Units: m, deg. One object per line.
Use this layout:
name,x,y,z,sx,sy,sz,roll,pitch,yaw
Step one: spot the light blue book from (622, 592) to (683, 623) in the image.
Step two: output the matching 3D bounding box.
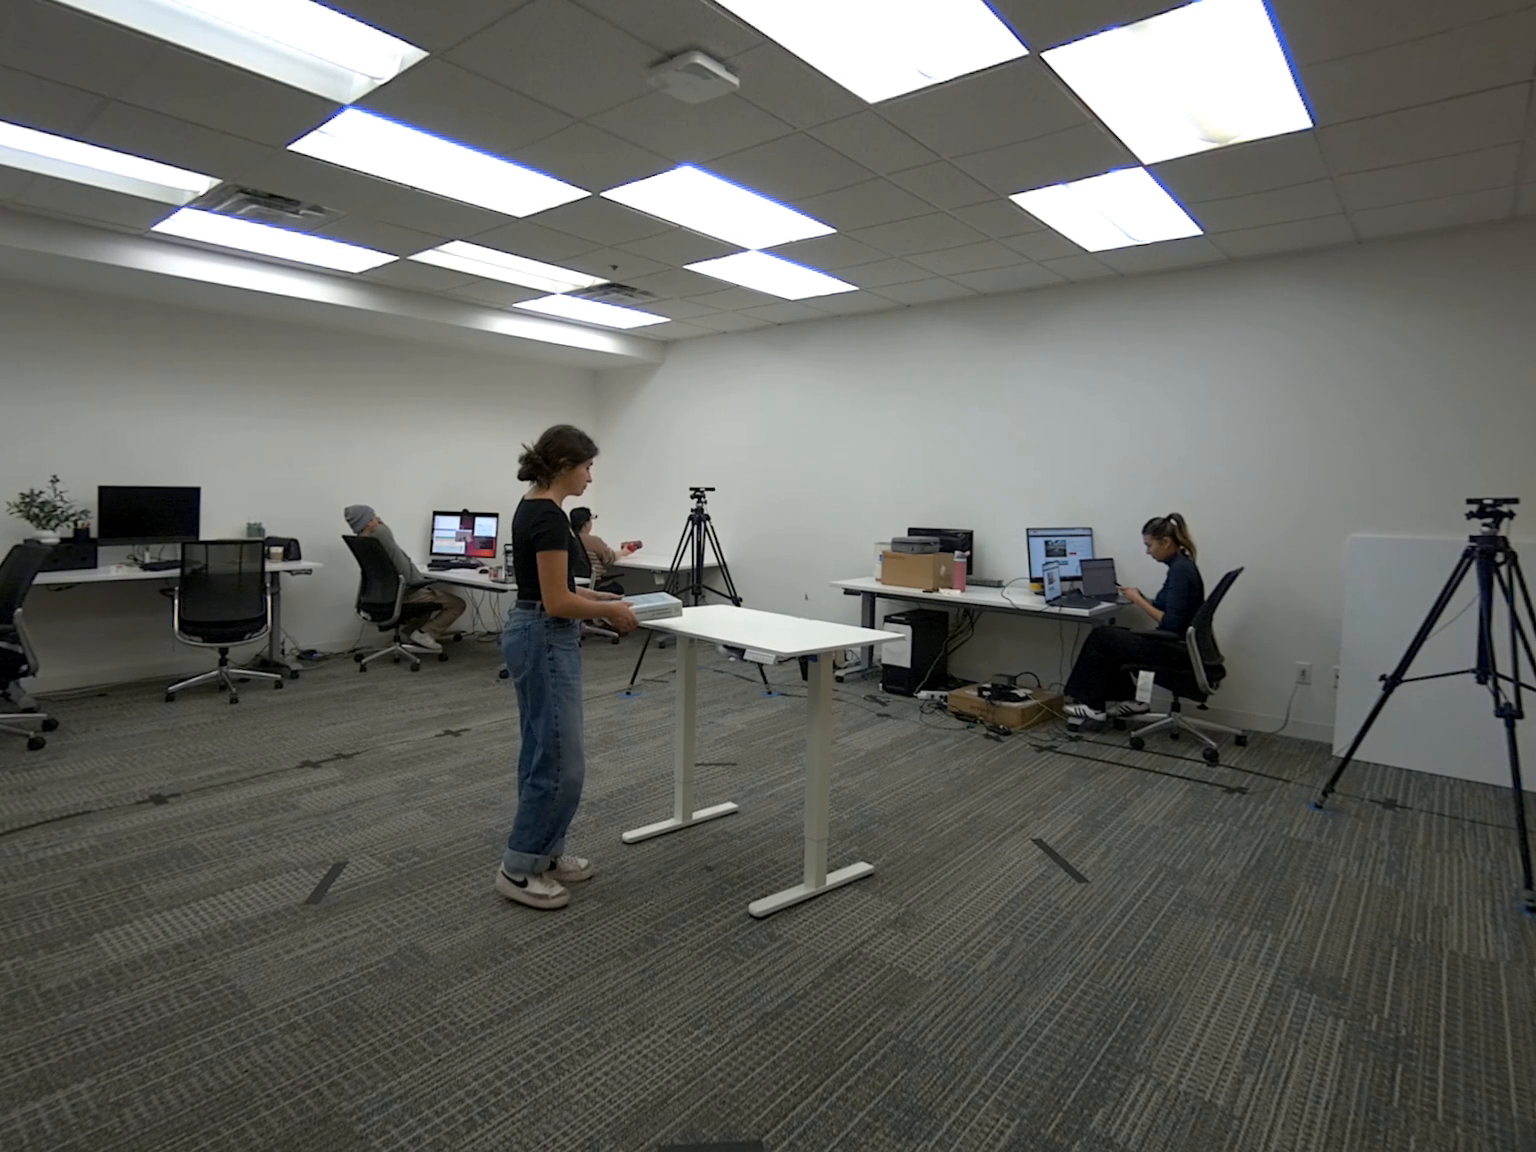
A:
light blue book,-0.470,0.125,3.051,0.257,0.058,0.196,-6,10,-14
